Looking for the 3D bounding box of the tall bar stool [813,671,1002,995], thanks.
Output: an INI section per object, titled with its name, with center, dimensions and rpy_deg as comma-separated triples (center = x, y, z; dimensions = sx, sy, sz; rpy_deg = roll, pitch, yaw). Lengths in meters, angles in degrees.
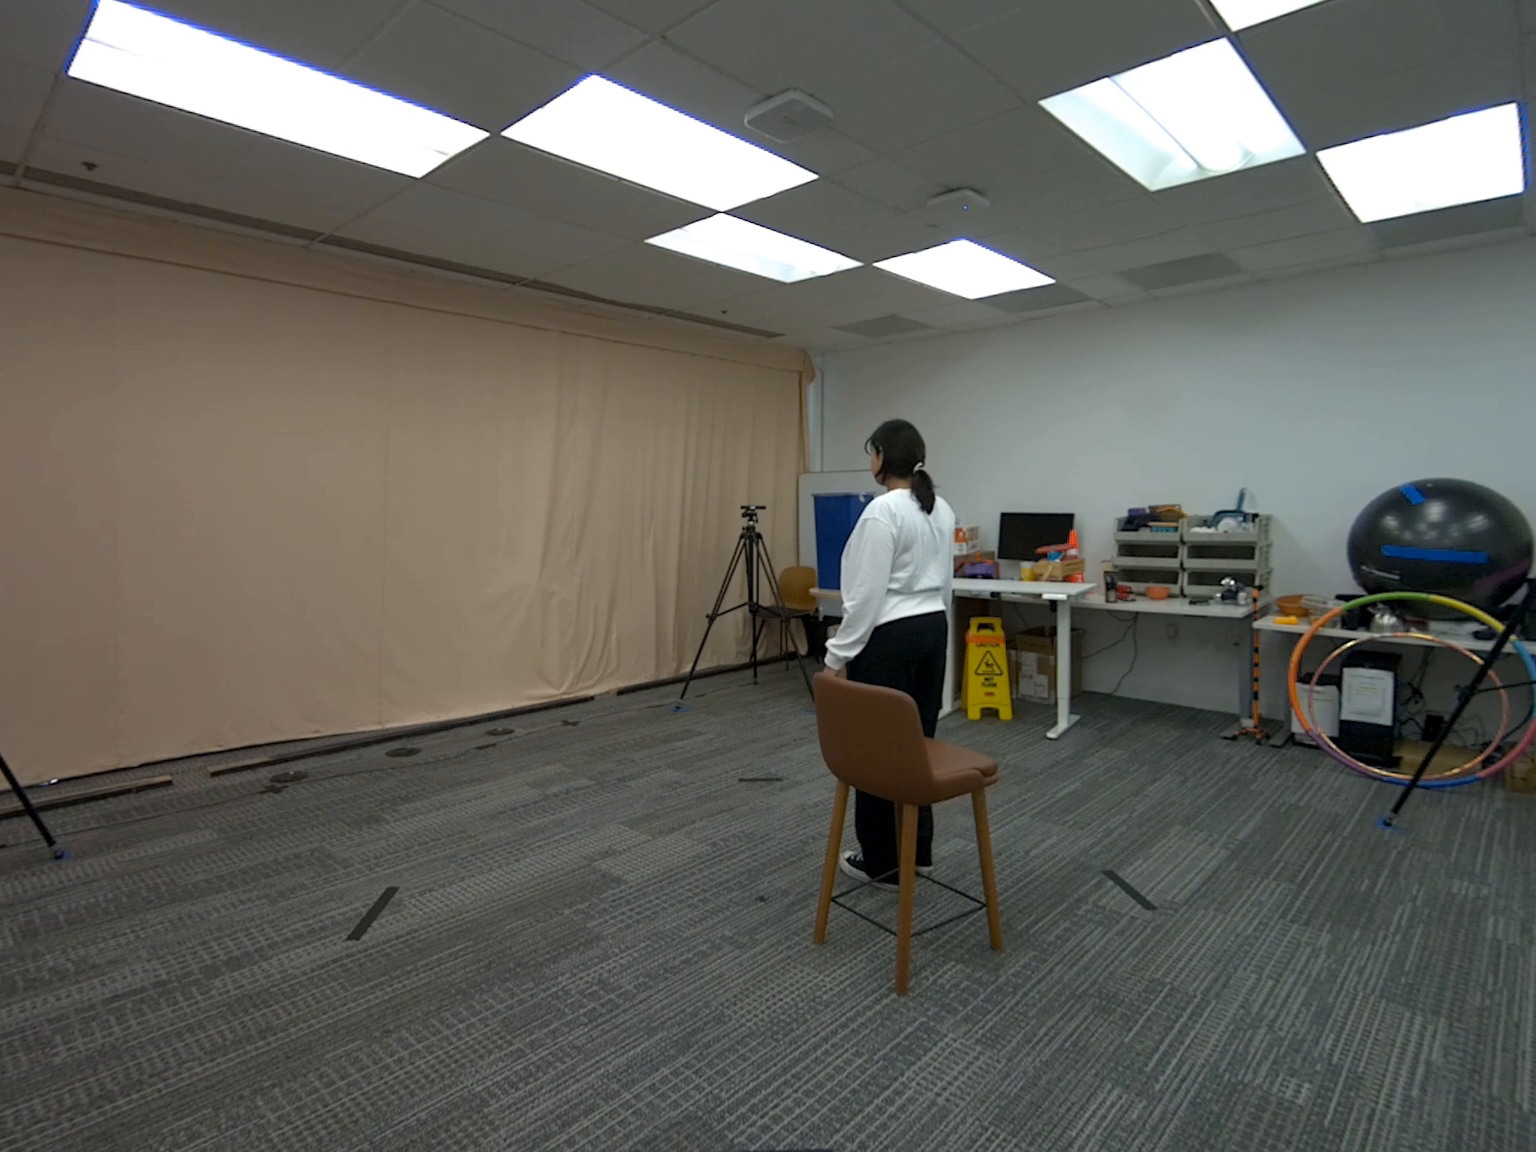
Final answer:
[tall bar stool]
center = 0.432, 0.735, 2.642
dimensions = 0.454, 0.887, 0.471
rpy_deg = -5, 6, -37
